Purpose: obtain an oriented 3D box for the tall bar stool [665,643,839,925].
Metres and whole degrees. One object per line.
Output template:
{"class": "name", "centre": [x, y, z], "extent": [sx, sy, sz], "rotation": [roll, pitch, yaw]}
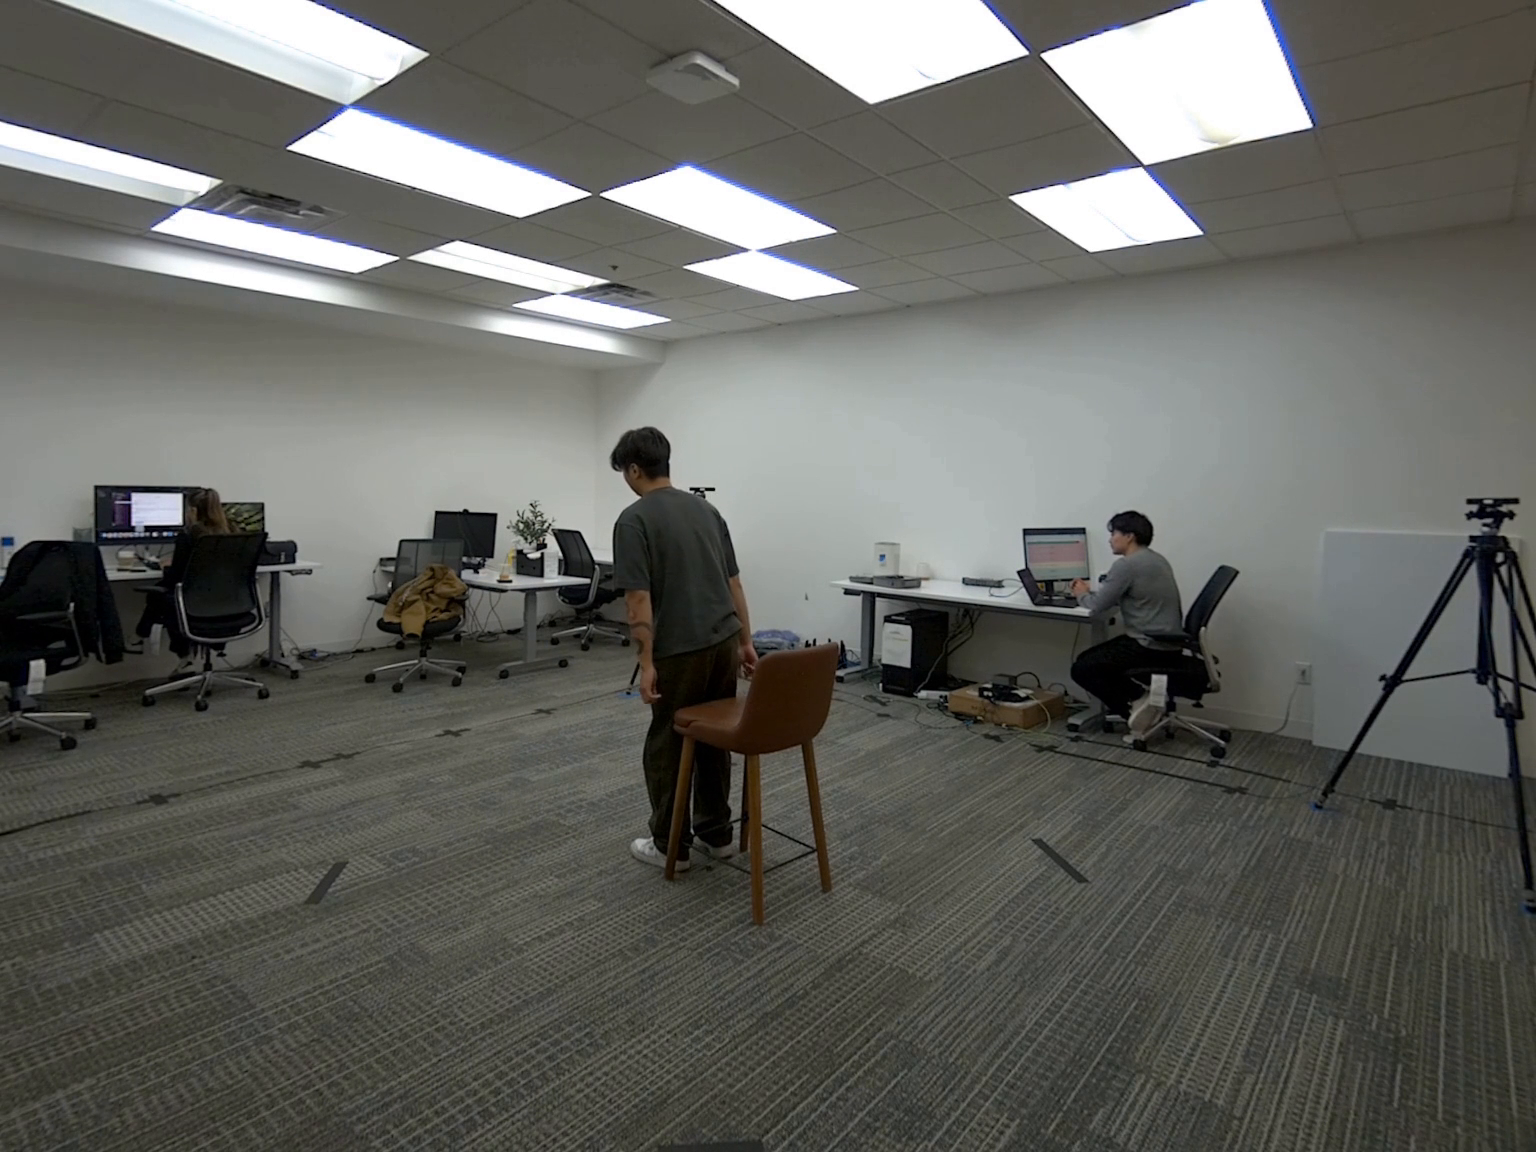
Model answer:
{"class": "tall bar stool", "centre": [-0.055, 0.643, 2.964], "extent": [0.484, 0.887, 0.442], "rotation": [7, 5, 43]}
